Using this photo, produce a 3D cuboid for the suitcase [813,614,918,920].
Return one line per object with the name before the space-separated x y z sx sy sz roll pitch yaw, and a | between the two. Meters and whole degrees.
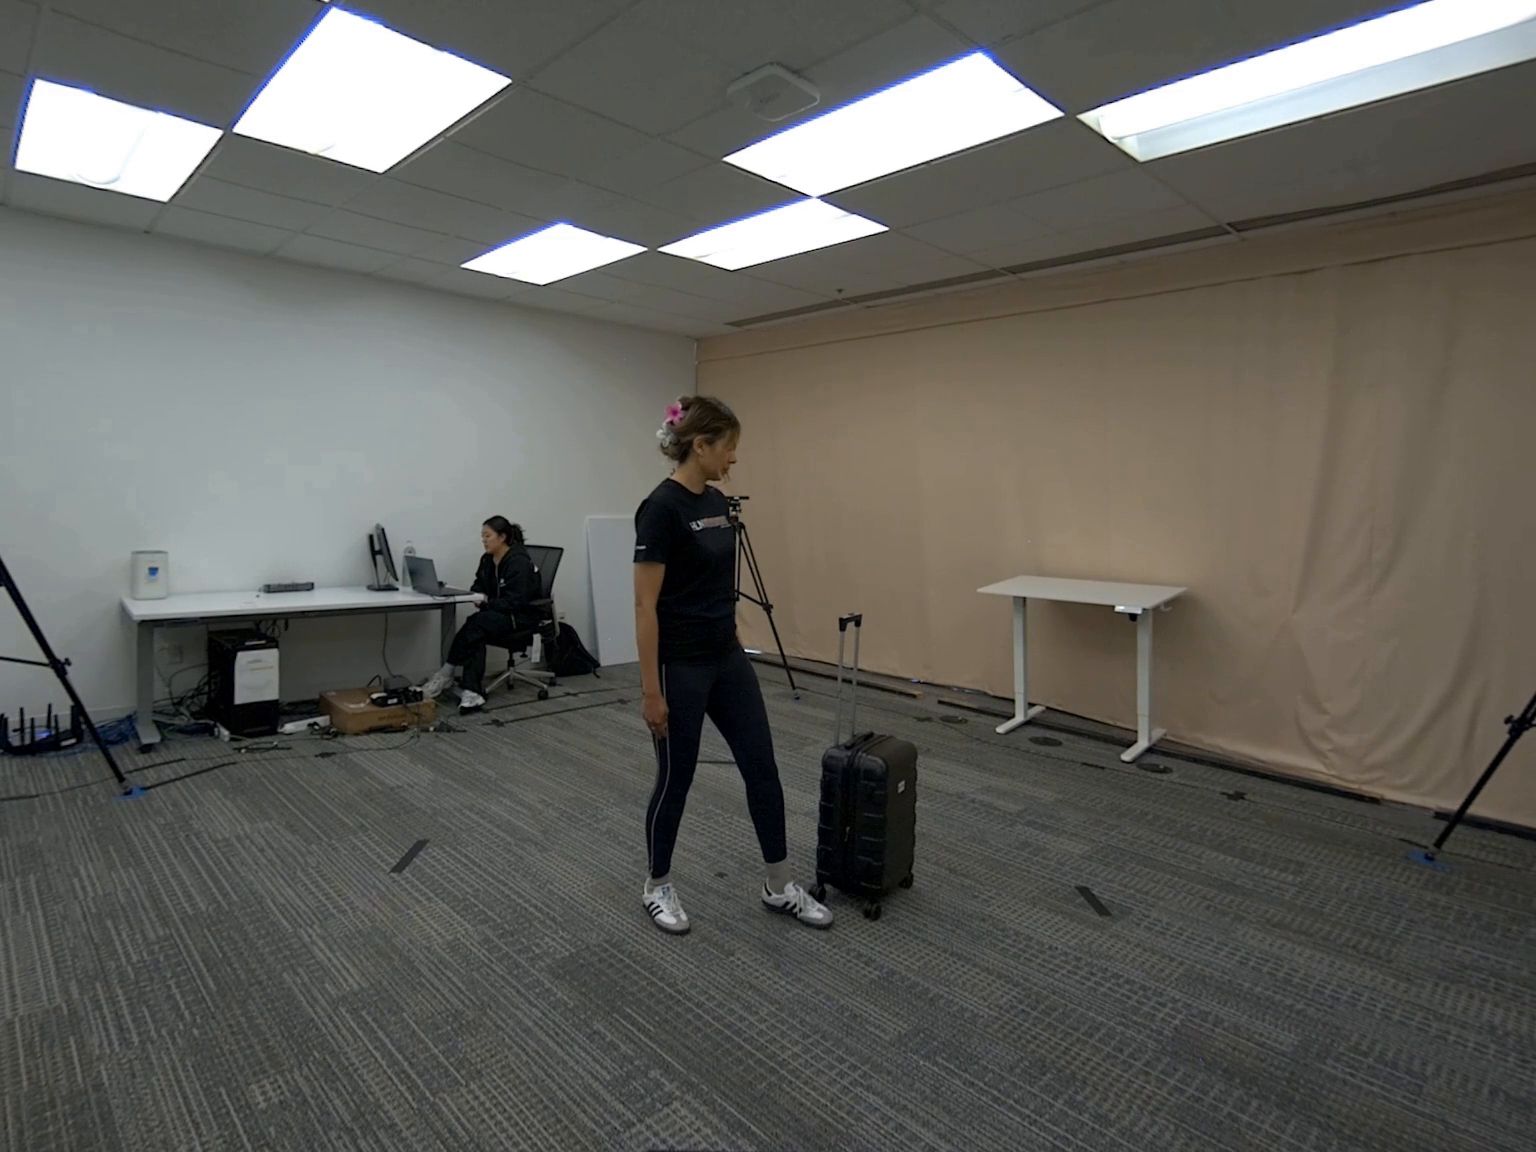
suitcase | 0.370 0.650 2.977 0.263 0.976 0.376 6 4 29
